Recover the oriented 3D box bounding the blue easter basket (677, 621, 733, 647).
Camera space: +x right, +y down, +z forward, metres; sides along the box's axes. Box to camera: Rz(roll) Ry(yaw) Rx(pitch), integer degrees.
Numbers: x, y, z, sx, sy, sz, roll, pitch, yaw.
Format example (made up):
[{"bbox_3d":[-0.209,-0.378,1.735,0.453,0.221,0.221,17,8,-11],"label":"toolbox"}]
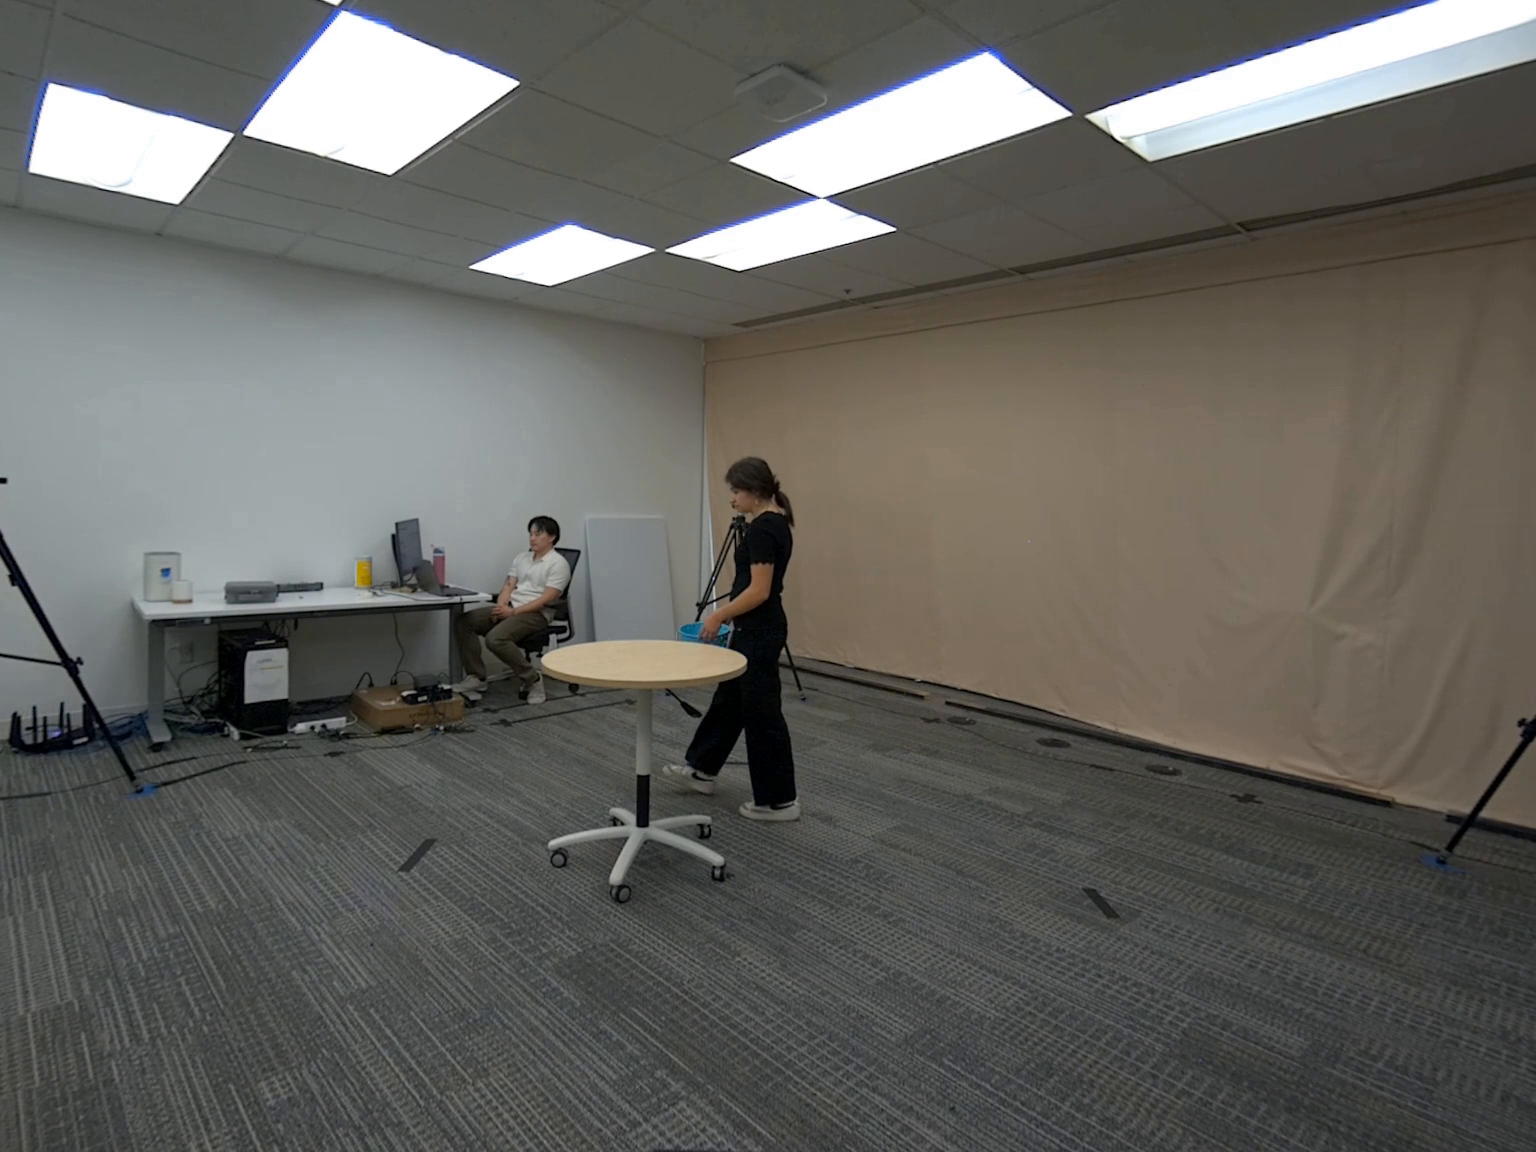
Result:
[{"bbox_3d":[-0.288,0.316,3.755,0.243,0.155,0.245,0,10,-1],"label":"blue easter basket"}]
